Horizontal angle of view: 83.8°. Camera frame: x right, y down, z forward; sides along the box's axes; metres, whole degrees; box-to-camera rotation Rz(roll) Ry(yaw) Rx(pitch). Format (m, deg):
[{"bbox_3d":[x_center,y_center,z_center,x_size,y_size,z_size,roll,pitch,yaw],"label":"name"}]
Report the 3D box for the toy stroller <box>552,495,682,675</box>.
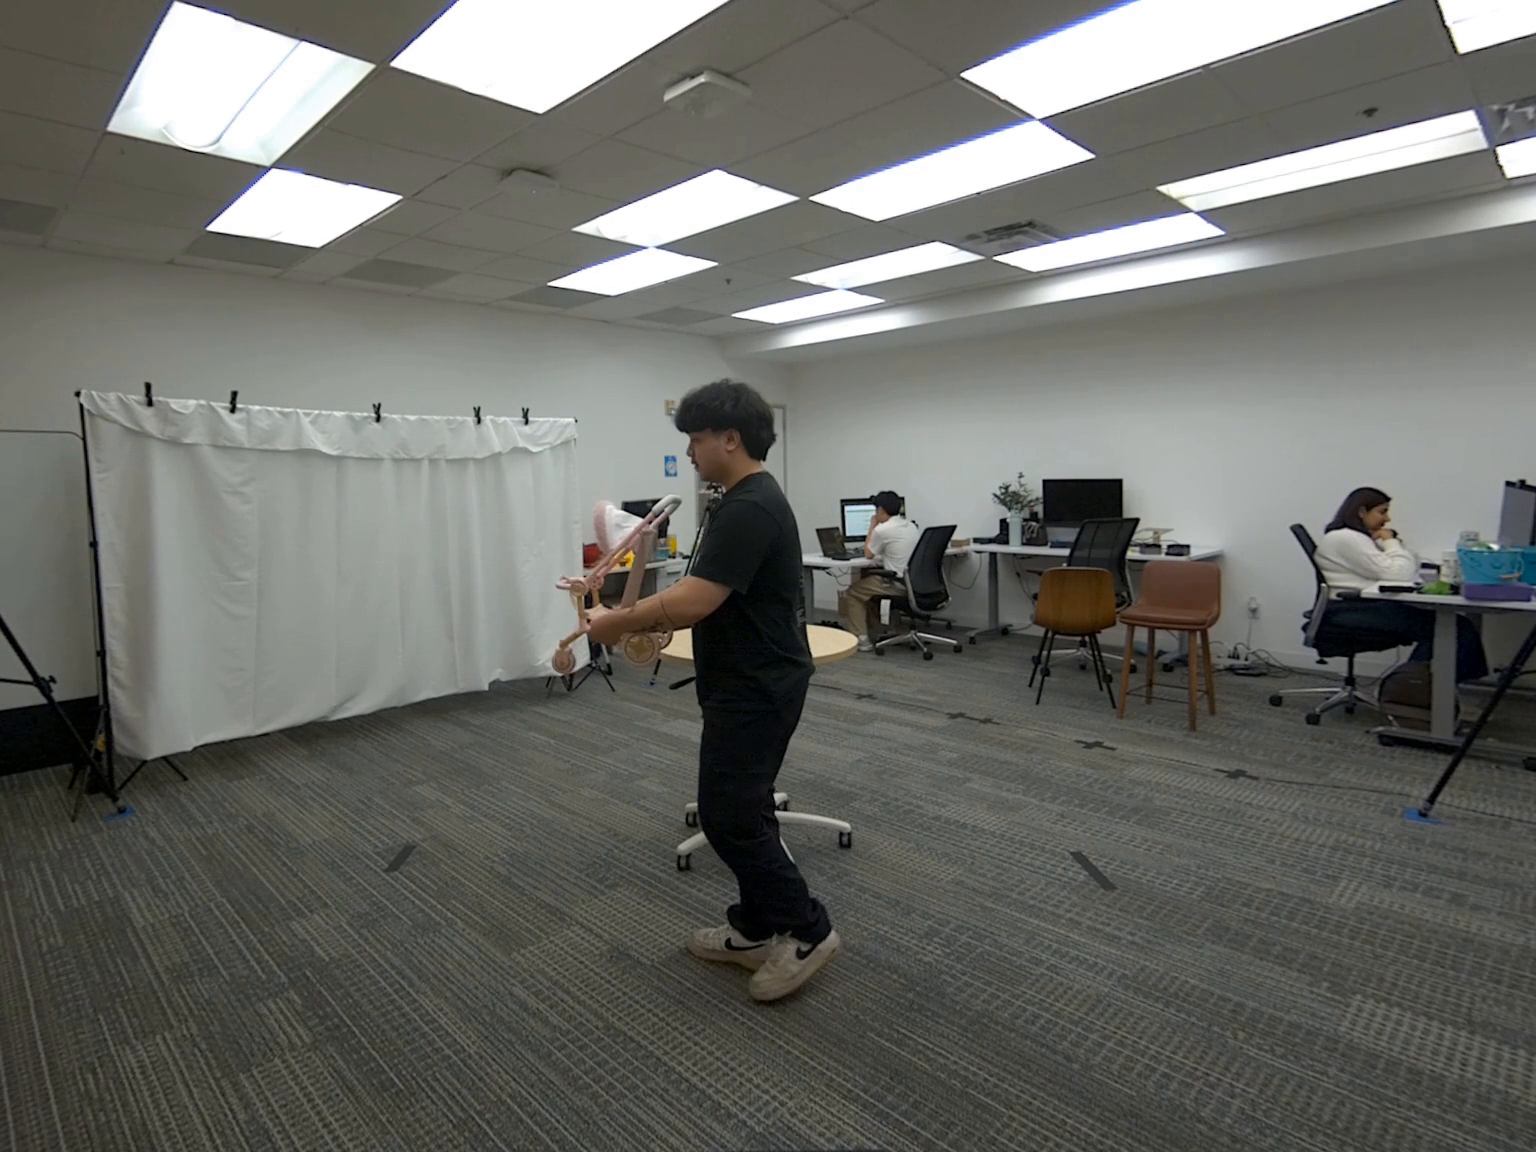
[{"bbox_3d":[-0.437,0.023,2.427,0.345,0.533,0.280,4,4,8],"label":"toy stroller"}]
